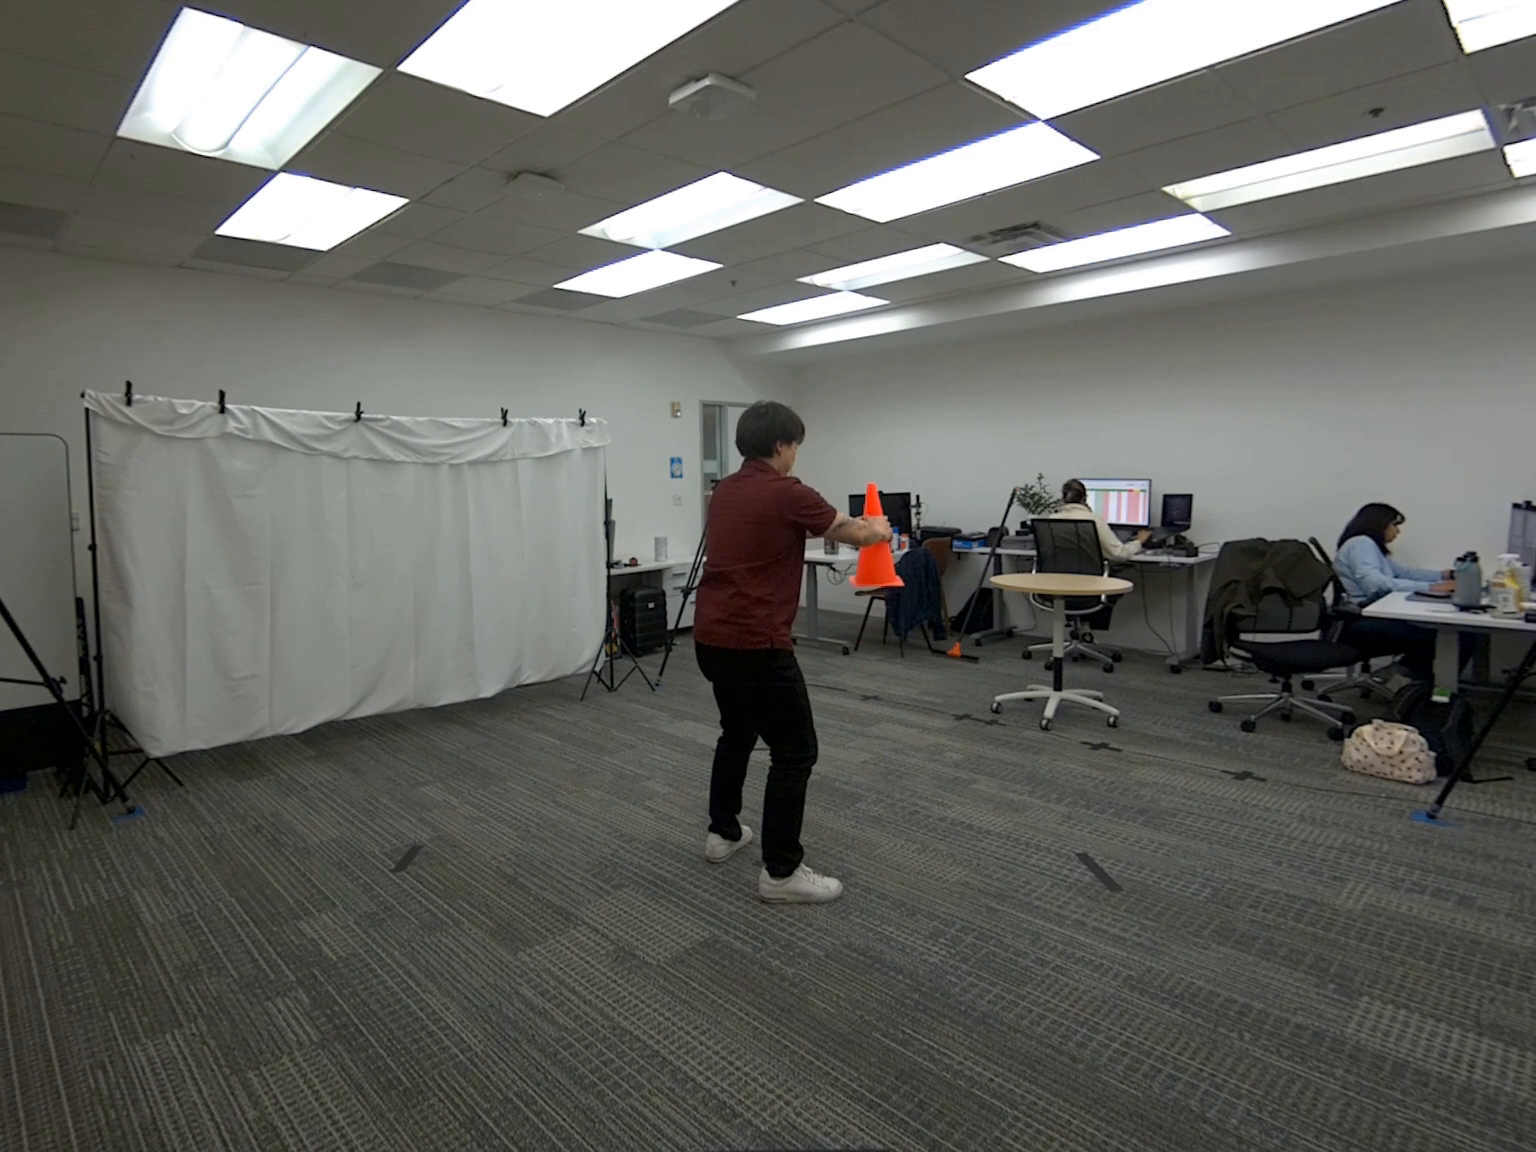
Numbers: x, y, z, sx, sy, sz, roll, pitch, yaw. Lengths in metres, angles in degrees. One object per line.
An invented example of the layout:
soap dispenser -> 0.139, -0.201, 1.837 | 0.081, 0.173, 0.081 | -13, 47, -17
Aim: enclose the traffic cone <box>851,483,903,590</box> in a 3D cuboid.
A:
traffic cone -> 0.416, -0.167, 3.284 | 0.206, 0.380, 0.204 | -2, 9, 7
